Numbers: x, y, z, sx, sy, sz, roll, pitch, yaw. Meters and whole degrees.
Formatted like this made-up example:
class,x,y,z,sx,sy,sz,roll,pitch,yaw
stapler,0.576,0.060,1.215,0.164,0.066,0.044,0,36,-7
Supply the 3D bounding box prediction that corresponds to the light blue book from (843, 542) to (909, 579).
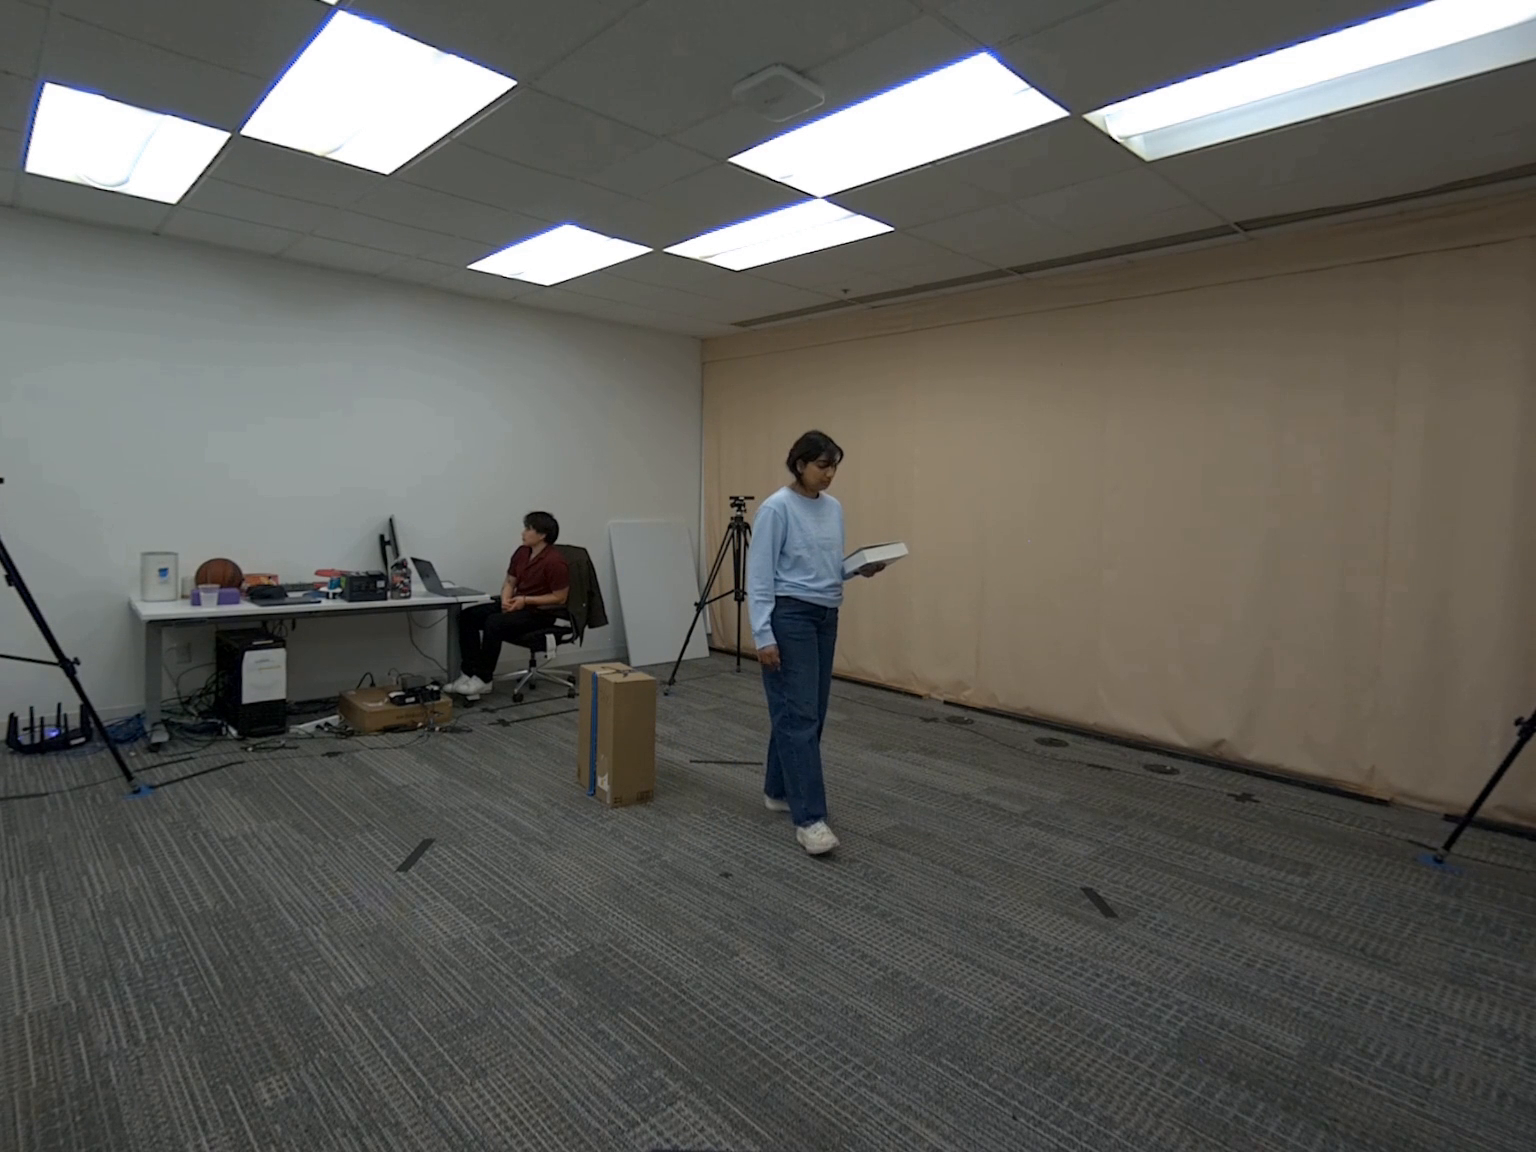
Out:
class,x,y,z,sx,sy,sz,roll,pitch,yaw
light blue book,0.429,-0.073,3.440,0.189,0.059,0.261,-10,-9,-15
